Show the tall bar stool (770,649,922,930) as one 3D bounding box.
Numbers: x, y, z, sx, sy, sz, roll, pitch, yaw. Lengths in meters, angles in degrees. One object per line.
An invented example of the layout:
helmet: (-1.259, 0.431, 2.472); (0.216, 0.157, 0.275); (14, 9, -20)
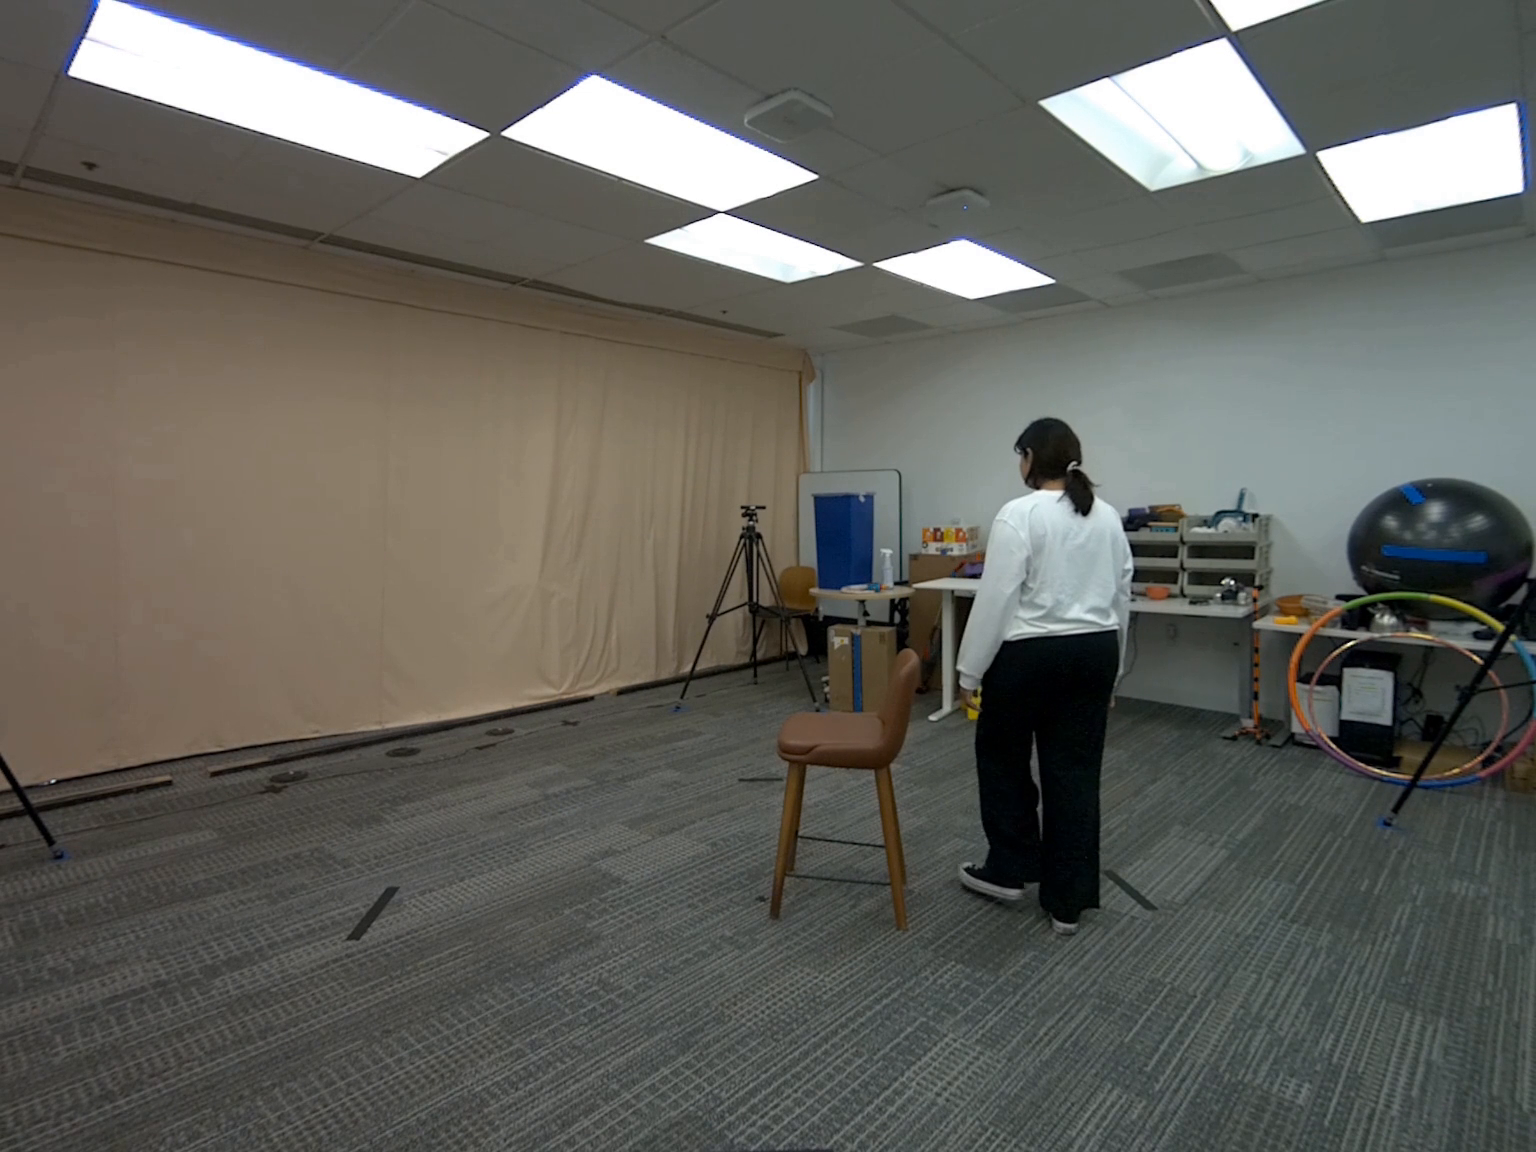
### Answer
tall bar stool: (0.278, 0.707, 2.963); (0.474, 0.888, 0.451); (3, 3, 12)
